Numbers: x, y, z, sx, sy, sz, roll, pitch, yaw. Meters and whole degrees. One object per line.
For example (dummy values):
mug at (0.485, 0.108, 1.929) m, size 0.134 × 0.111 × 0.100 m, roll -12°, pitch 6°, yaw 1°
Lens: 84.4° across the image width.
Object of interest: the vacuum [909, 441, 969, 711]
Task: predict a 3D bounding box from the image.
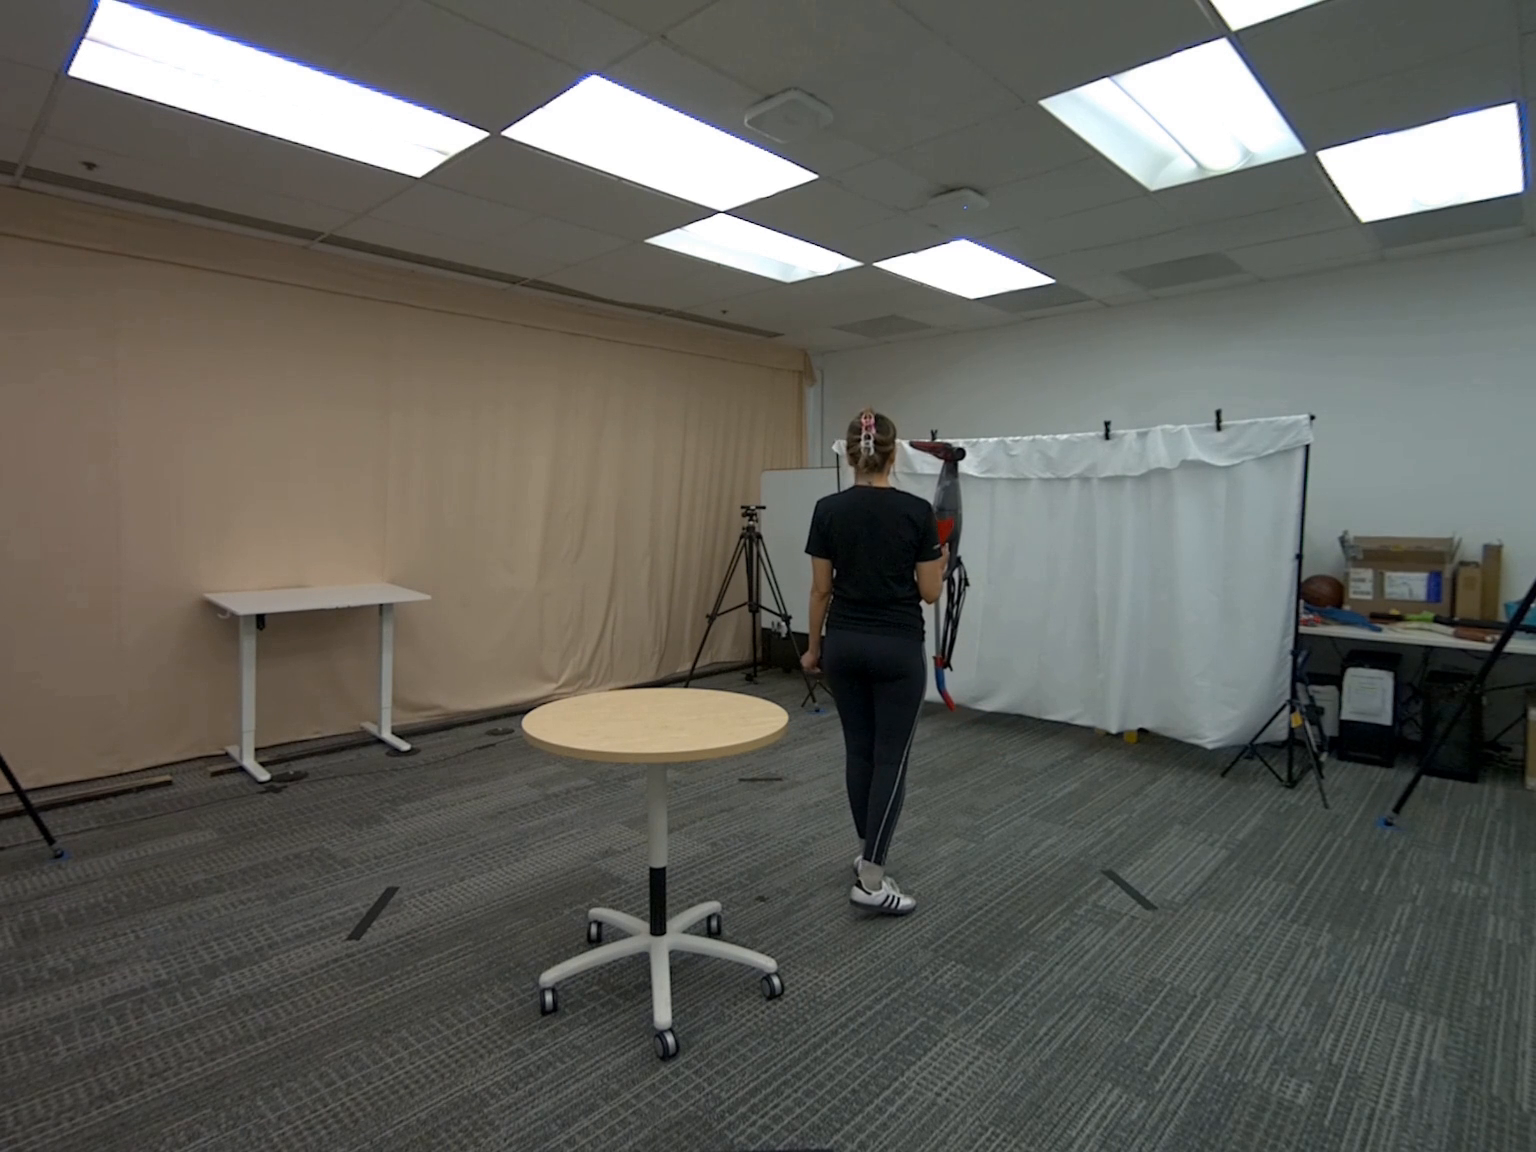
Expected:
vacuum at (0.701, 0.017, 3.273) m, size 0.142 × 1.042 × 0.258 m, roll -8°, pitch 10°, yaw -17°
